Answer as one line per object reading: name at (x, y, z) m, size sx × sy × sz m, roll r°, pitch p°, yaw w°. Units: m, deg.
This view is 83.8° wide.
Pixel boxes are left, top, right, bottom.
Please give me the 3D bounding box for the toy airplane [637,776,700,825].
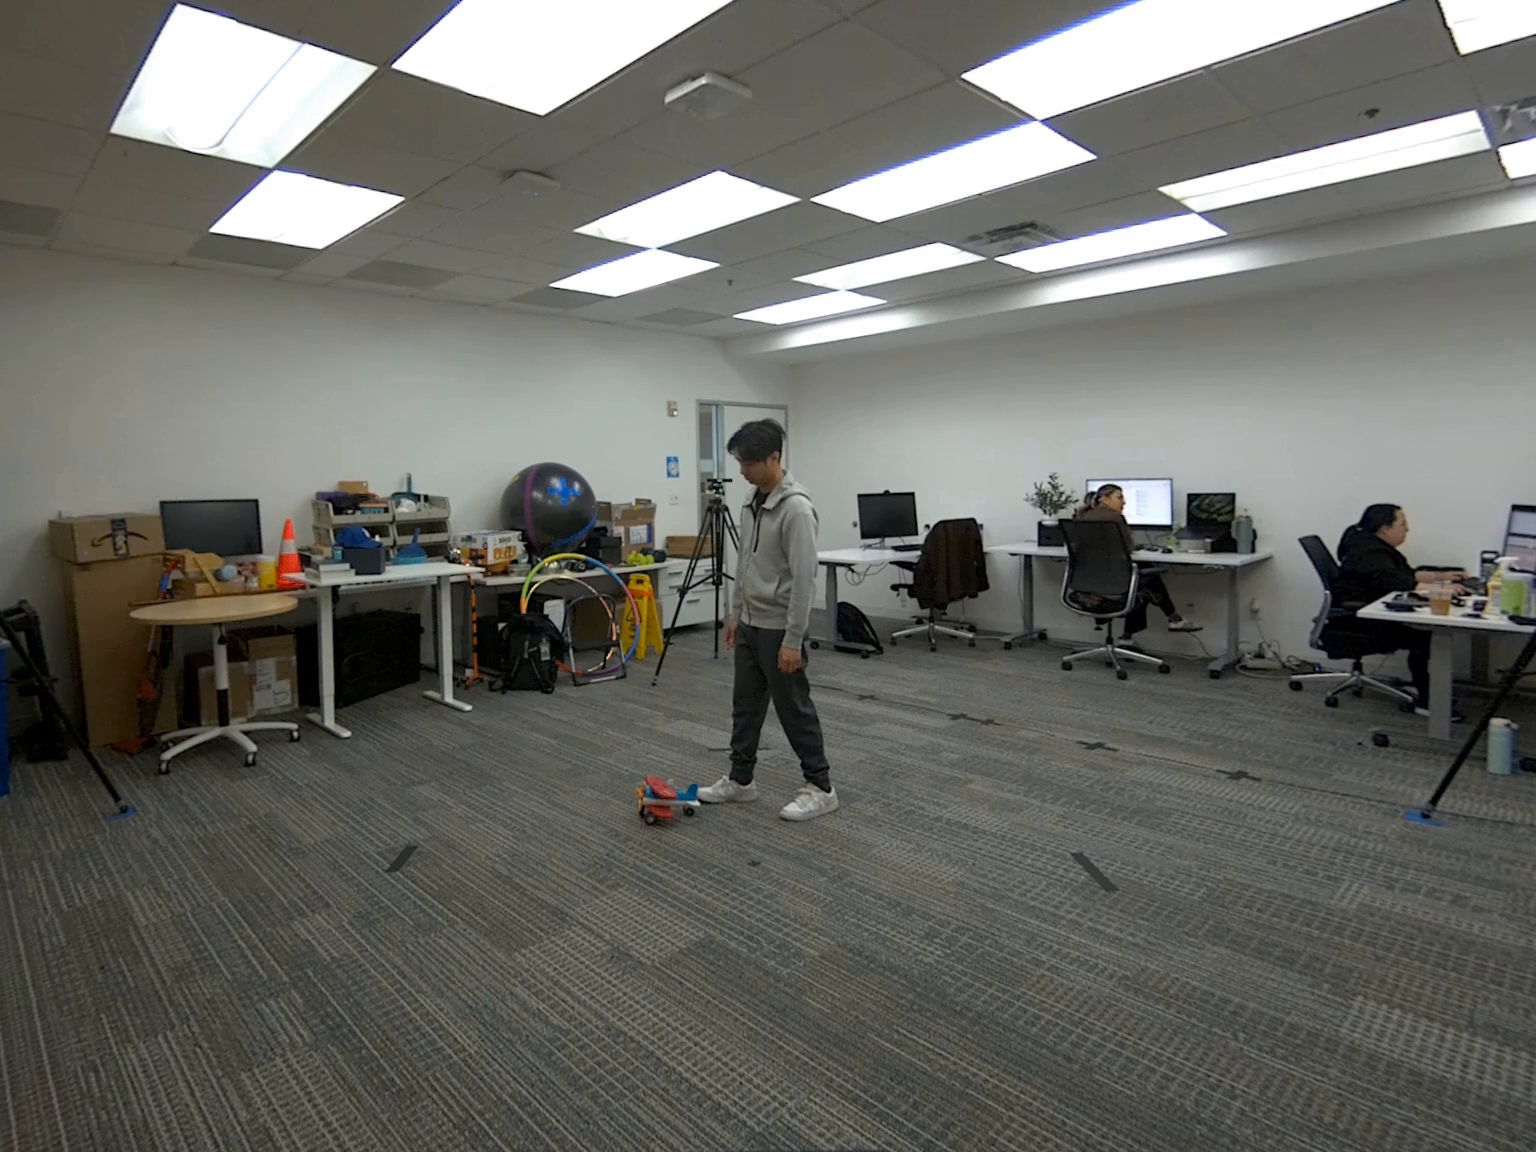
toy airplane at (-0.421, 0.927, 3.553) m, size 0.258 × 0.156 × 0.253 m, roll 3°, pitch 7°, yaw 41°
